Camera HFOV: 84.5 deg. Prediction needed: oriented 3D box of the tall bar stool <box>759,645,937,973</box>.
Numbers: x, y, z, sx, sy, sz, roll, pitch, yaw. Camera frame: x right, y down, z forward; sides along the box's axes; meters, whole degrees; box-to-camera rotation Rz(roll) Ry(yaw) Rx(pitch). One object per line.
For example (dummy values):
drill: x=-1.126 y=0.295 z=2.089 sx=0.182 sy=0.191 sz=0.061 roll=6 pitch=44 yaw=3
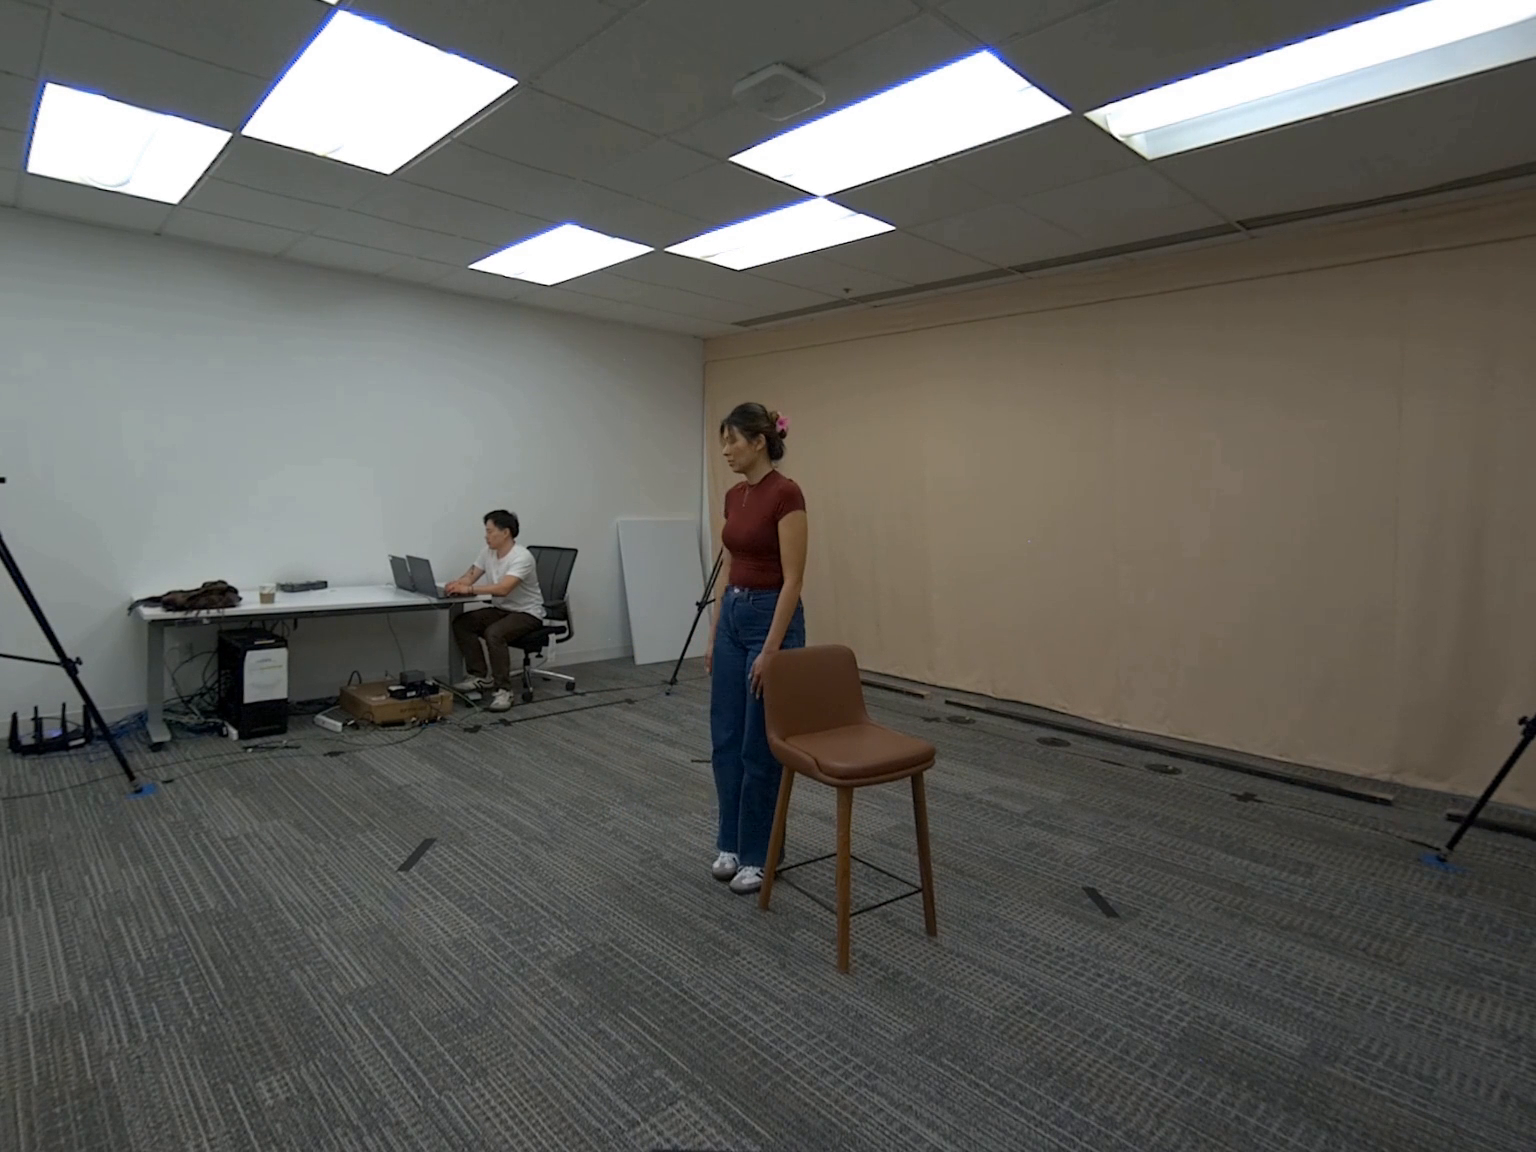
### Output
tall bar stool: x=0.253 y=0.710 z=2.747 sx=0.446 sy=0.889 sz=0.478 roll=-1 pitch=2 yaw=-35
